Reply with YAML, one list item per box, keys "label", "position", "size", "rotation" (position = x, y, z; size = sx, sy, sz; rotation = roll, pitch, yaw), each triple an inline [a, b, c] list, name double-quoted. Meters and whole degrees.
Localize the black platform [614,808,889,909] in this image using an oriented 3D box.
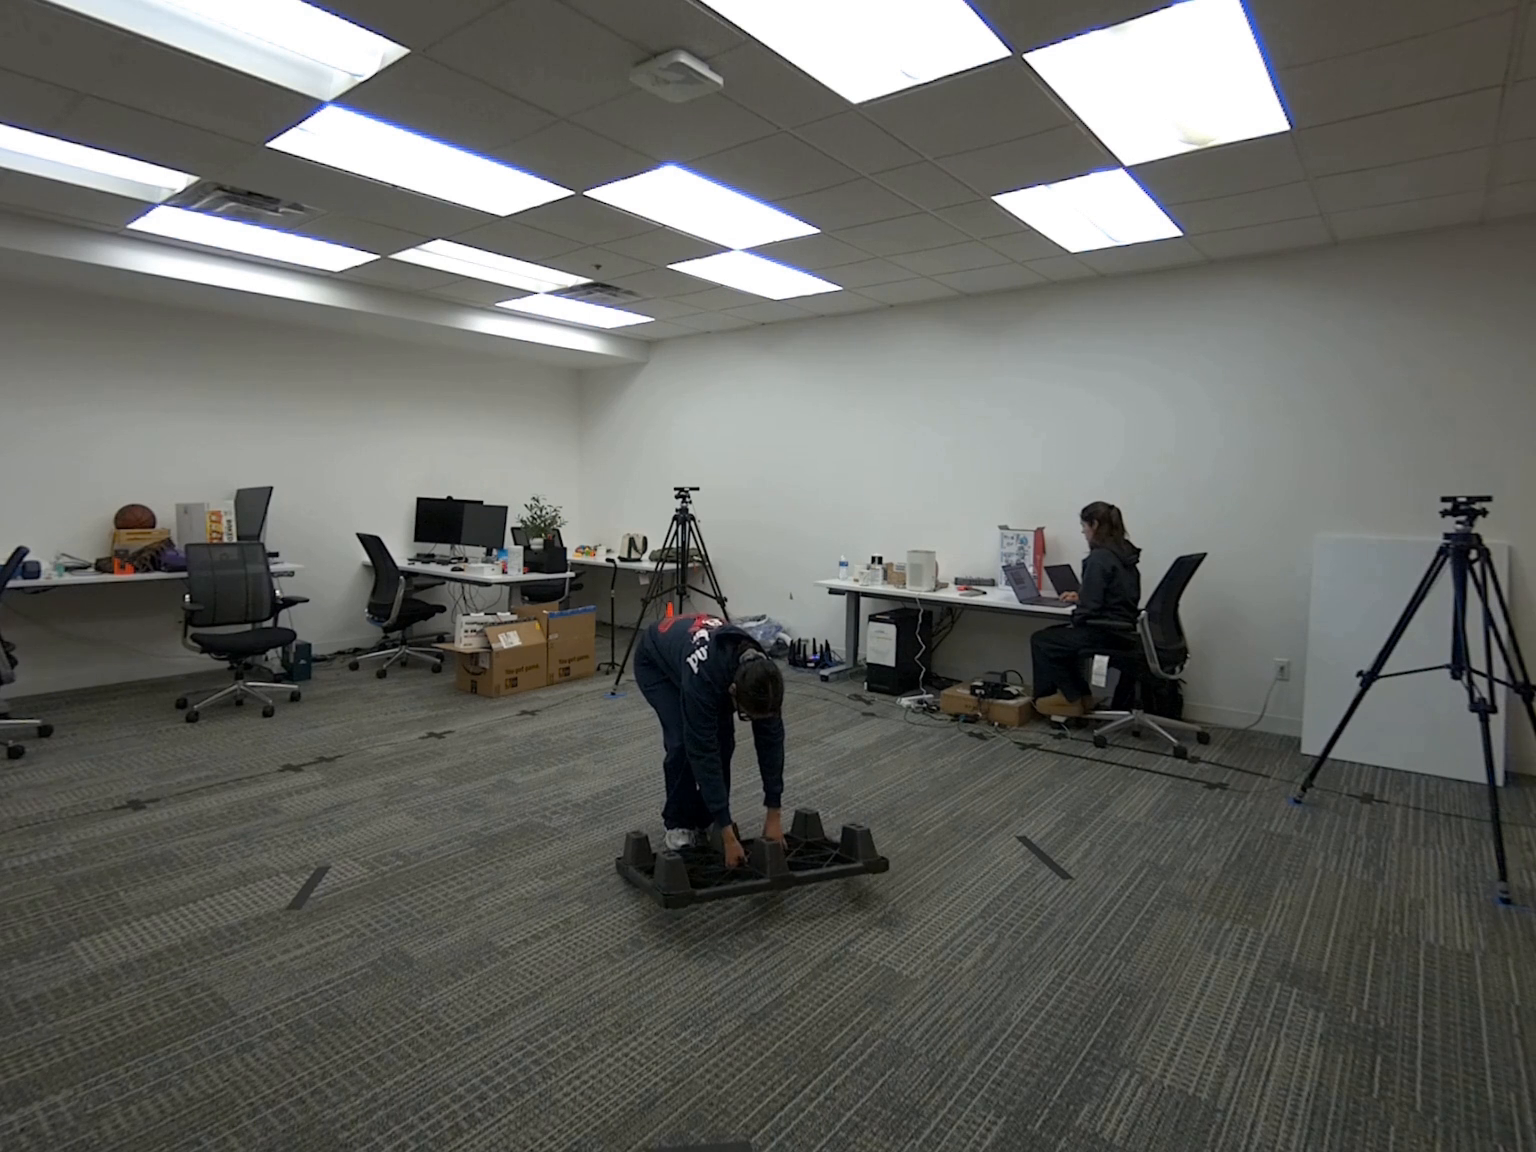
- label: "black platform"
  position: [-0.085, 0.955, 2.982]
  size: [0.787, 0.144, 0.614]
  rotation: [-1, -6, -24]
